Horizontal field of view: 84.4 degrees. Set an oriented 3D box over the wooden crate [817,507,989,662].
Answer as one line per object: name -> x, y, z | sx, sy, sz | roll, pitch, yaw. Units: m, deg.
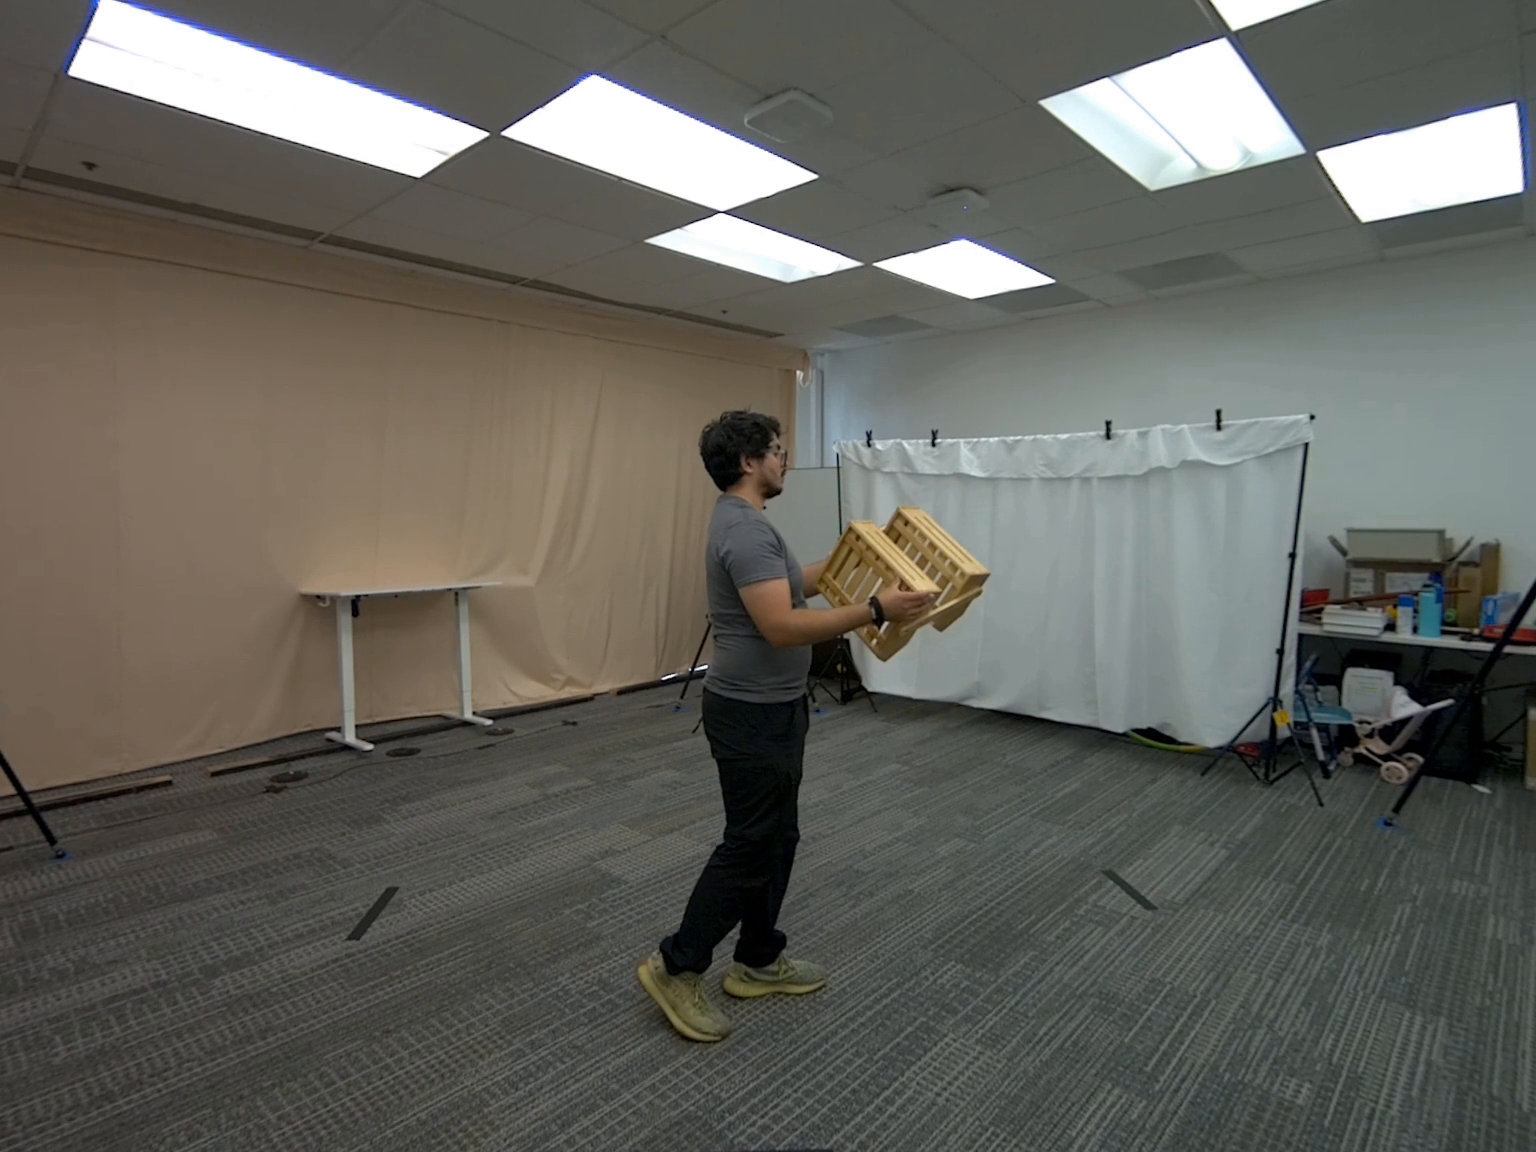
wooden crate -> 0.368, 0.018, 2.321 | 0.265, 0.301, 0.335 | -2, 40, -40
